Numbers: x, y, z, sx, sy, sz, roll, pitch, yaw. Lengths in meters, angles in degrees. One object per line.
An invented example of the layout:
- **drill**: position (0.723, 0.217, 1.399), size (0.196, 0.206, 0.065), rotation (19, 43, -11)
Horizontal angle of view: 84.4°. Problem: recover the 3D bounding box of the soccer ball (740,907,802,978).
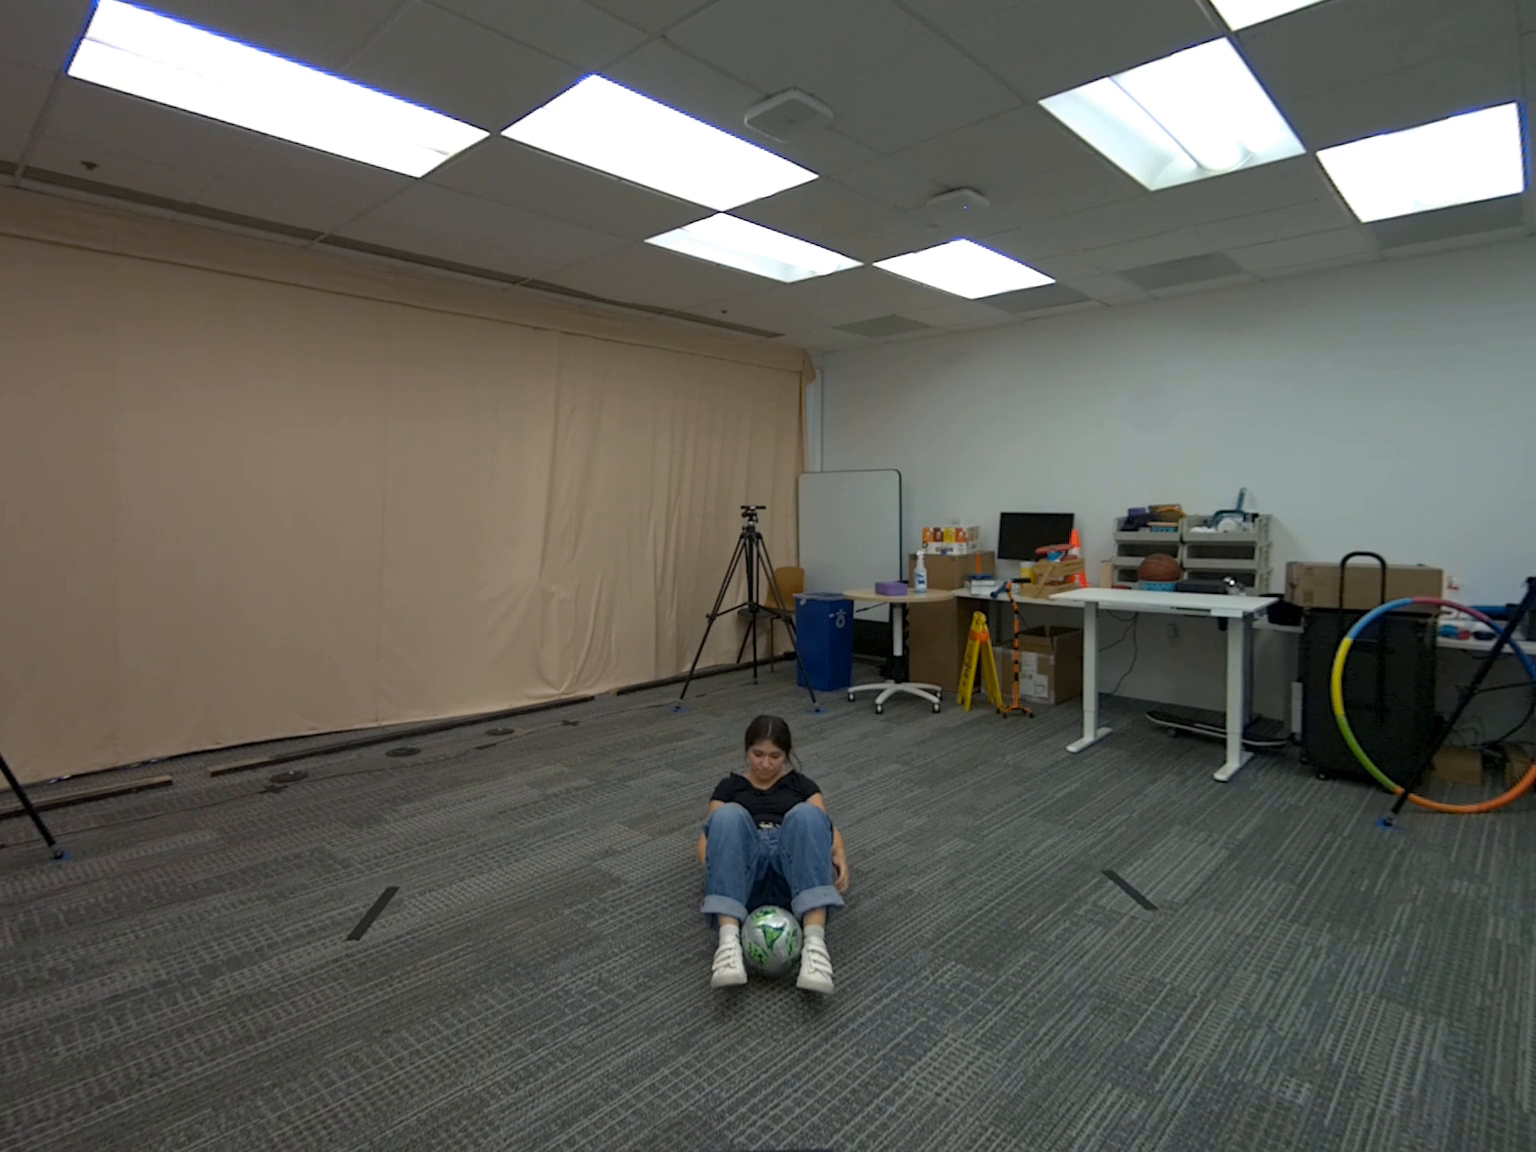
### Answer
- **soccer ball**: position (0.021, 1.054, 2.472), size (0.187, 0.187, 0.188), rotation (3, 4, -2)
